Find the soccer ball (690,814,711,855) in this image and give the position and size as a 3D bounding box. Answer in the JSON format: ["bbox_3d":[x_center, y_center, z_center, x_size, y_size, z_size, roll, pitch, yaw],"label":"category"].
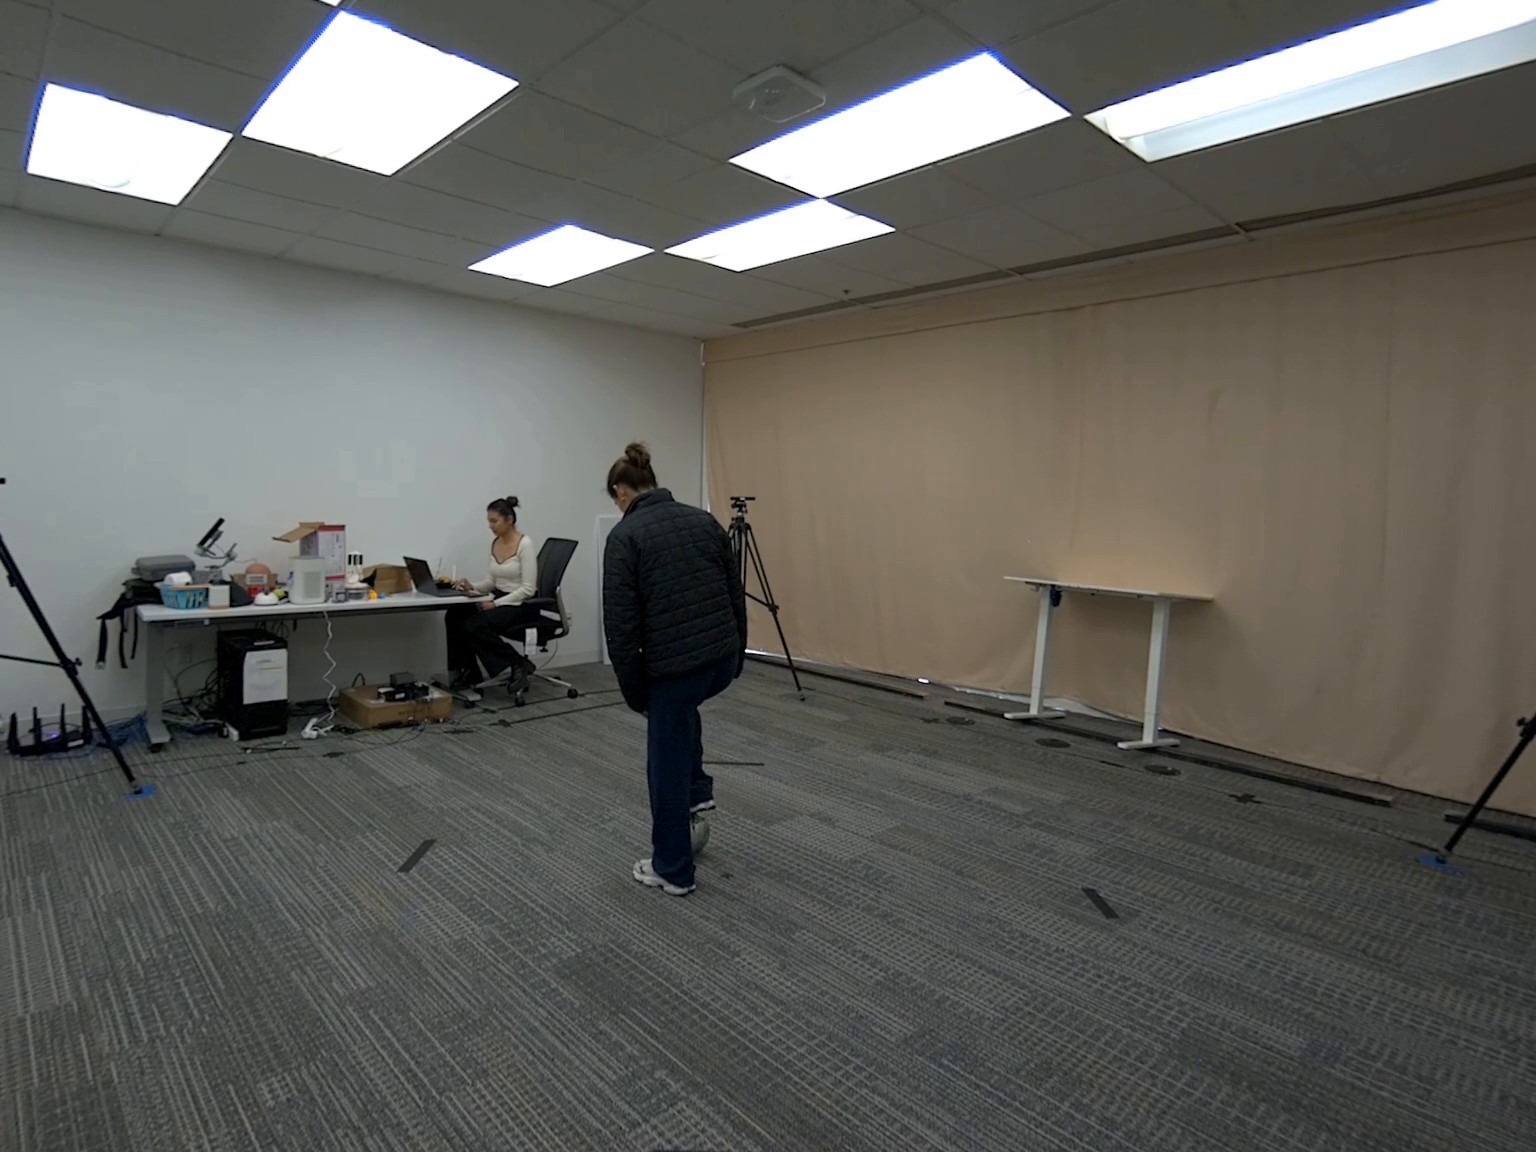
[{"bbox_3d":[-0.328,0.993,3.286,0.187,0.187,0.188,1,4,-1],"label":"soccer ball"}]
